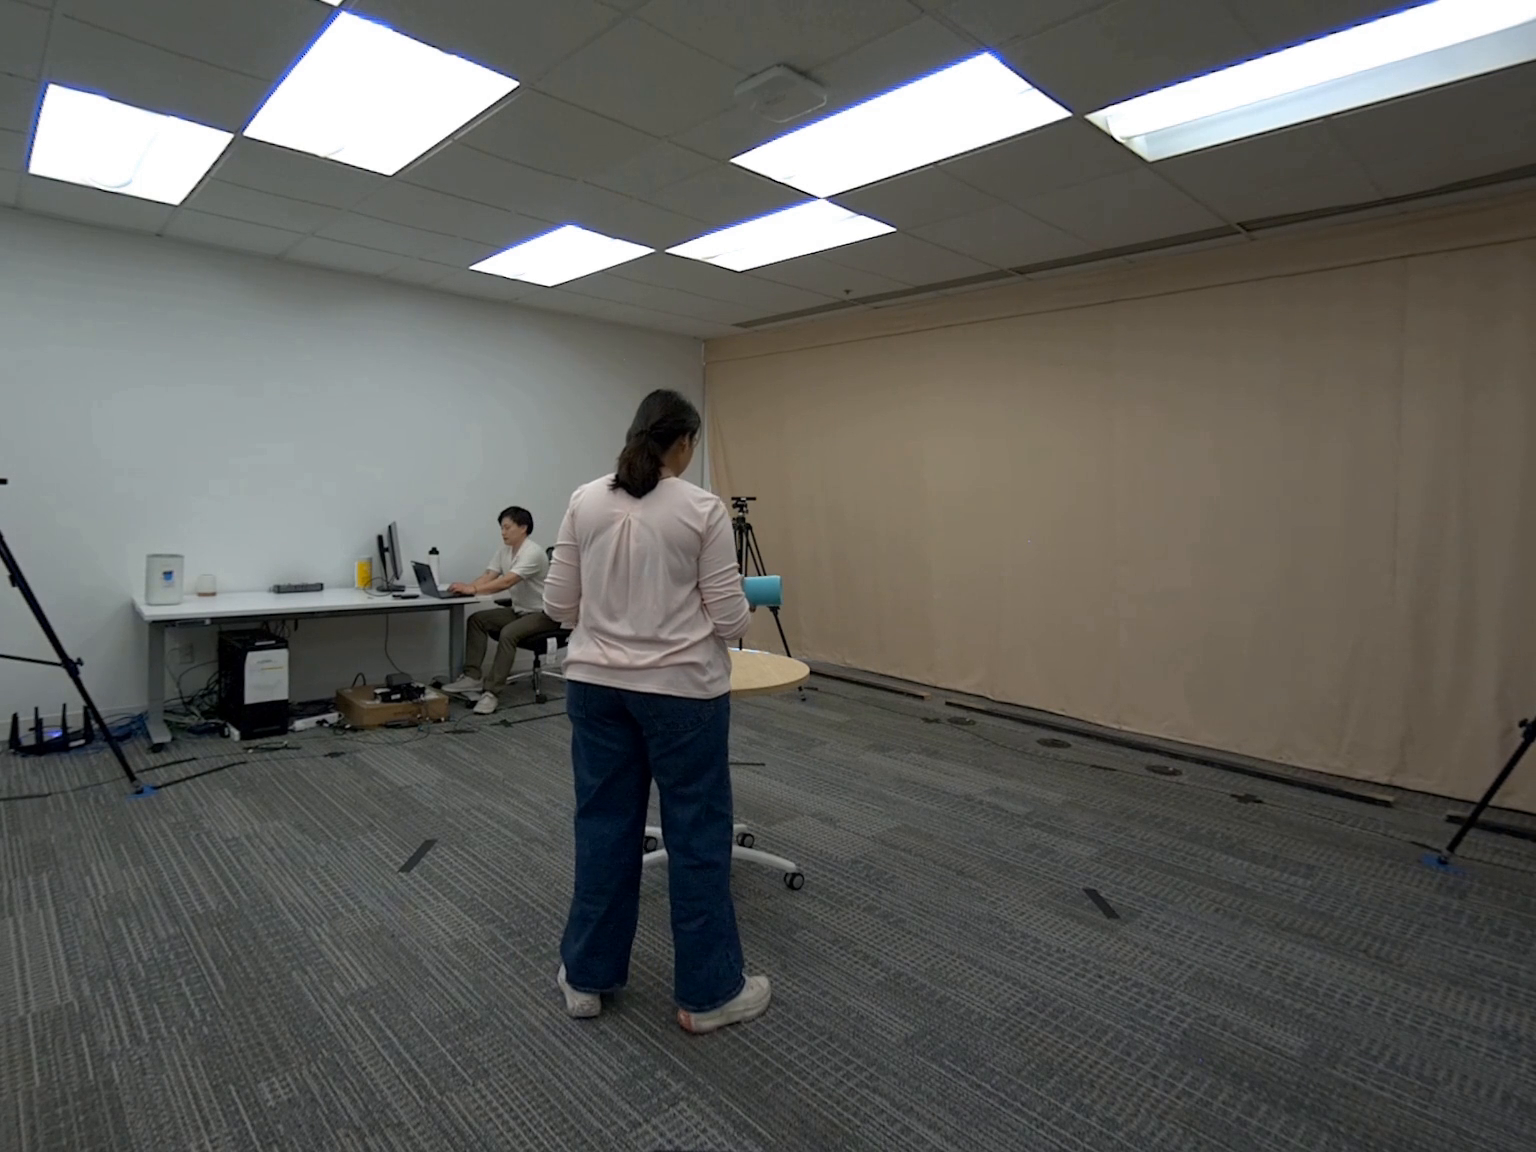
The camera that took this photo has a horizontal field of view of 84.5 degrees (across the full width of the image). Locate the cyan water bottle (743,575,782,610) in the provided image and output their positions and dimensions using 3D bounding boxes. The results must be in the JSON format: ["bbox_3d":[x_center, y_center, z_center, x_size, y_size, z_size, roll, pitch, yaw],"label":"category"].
[{"bbox_3d":[-0.102,0.052,2.523,0.284,0.092,0.092,-2,4,5],"label":"cyan water bottle"}]
